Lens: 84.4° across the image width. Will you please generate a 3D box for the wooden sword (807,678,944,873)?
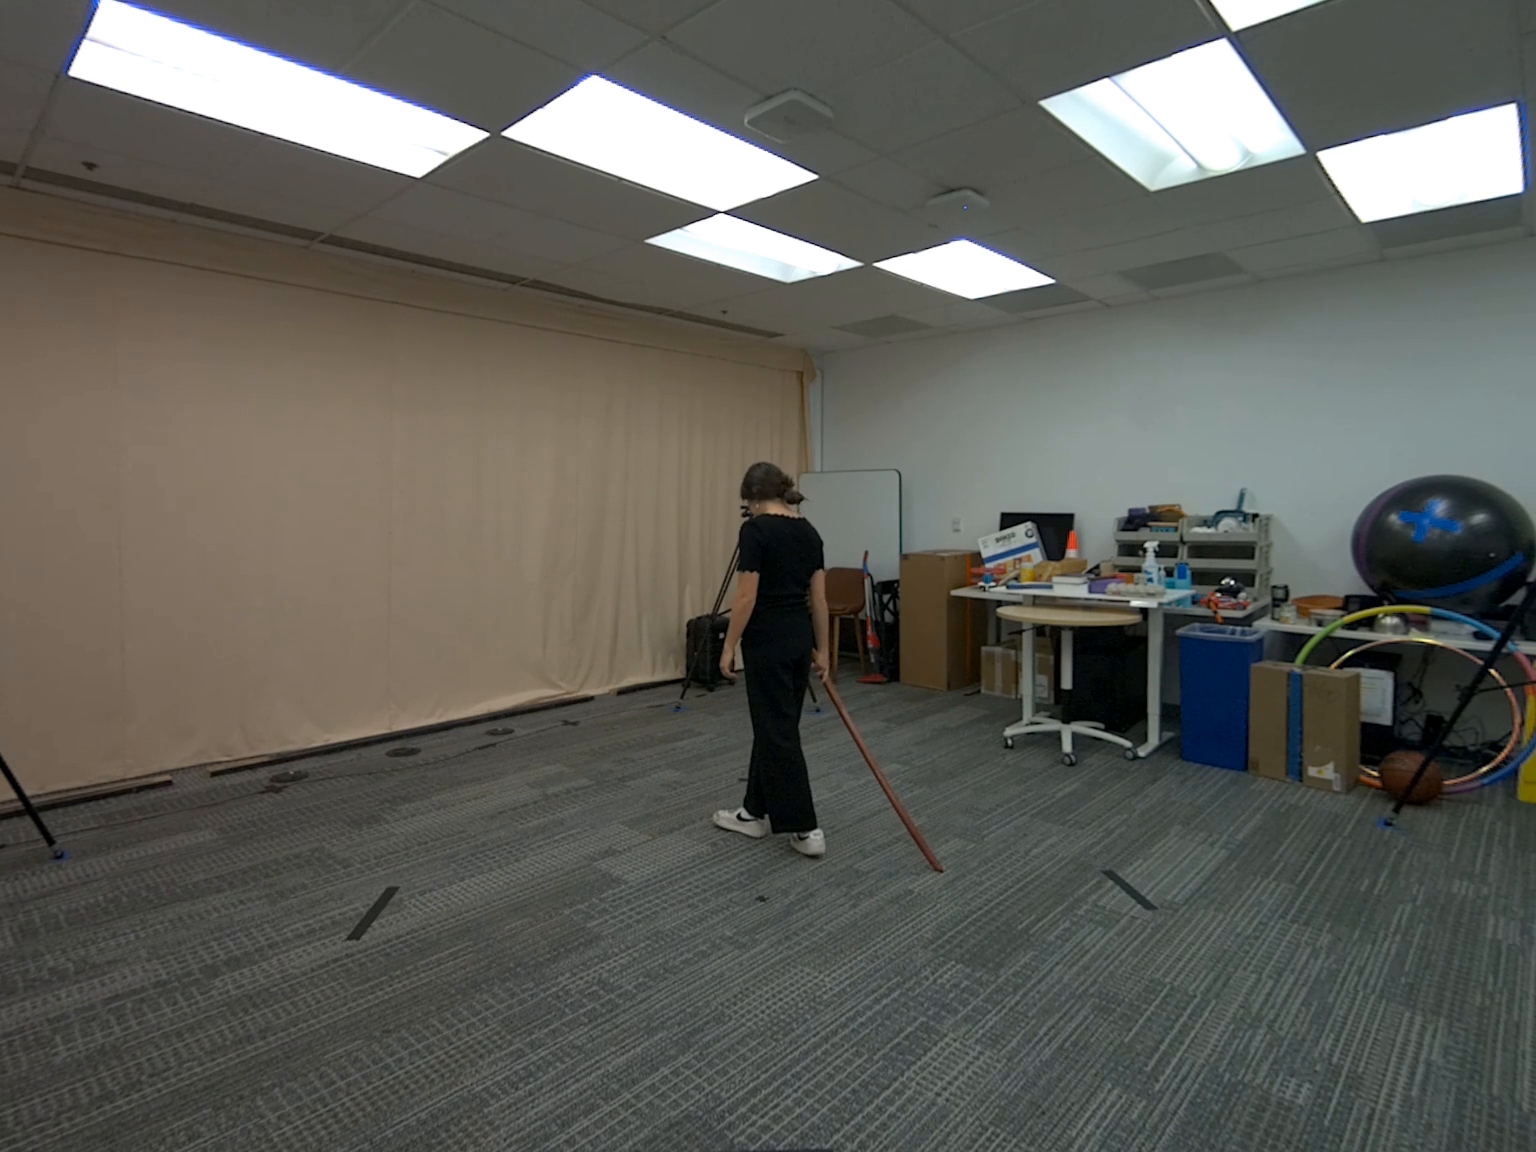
[{"bbox_3d":[0.422,0.734,3.442,0.024,1.054,0.049,-41,-32,18],"label":"wooden sword"}]
